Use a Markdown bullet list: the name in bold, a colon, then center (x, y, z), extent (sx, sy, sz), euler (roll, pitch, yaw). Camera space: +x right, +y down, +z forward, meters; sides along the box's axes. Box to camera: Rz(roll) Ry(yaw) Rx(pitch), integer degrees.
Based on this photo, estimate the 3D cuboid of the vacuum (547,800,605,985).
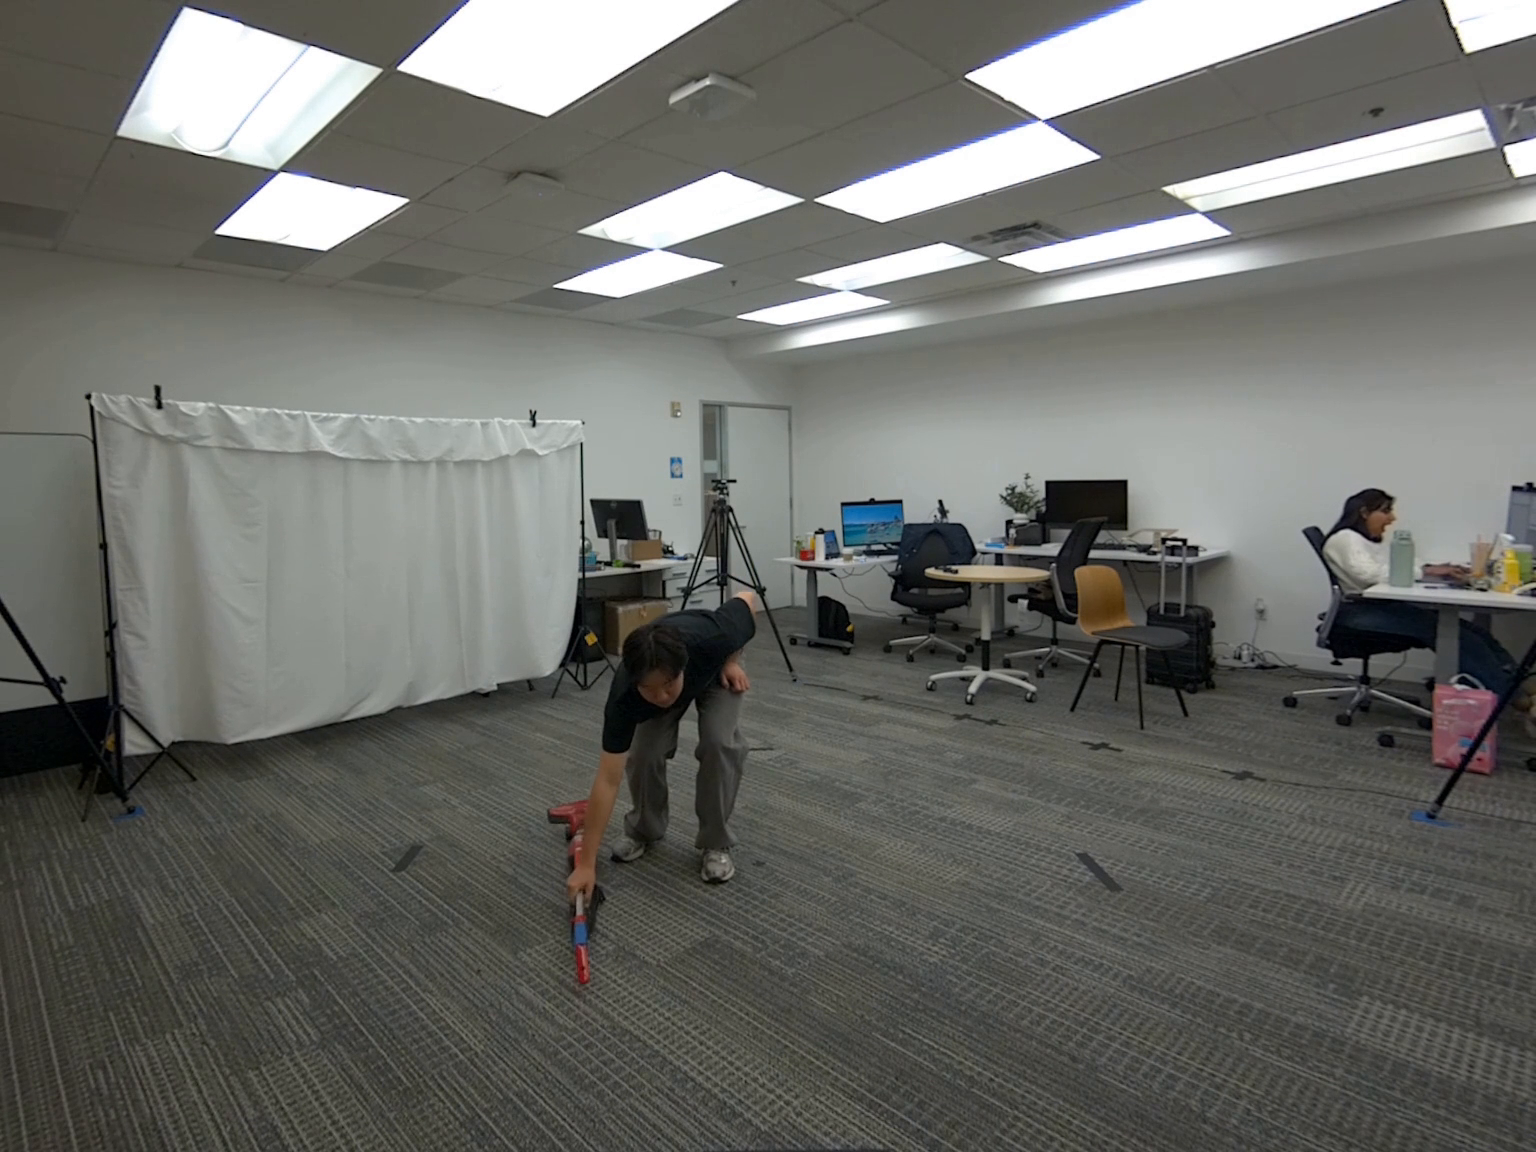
- **vacuum**: center (-0.609, 1.020, 2.844), extent (0.250, 0.142, 1.067), euler (-12, 10, -11)
